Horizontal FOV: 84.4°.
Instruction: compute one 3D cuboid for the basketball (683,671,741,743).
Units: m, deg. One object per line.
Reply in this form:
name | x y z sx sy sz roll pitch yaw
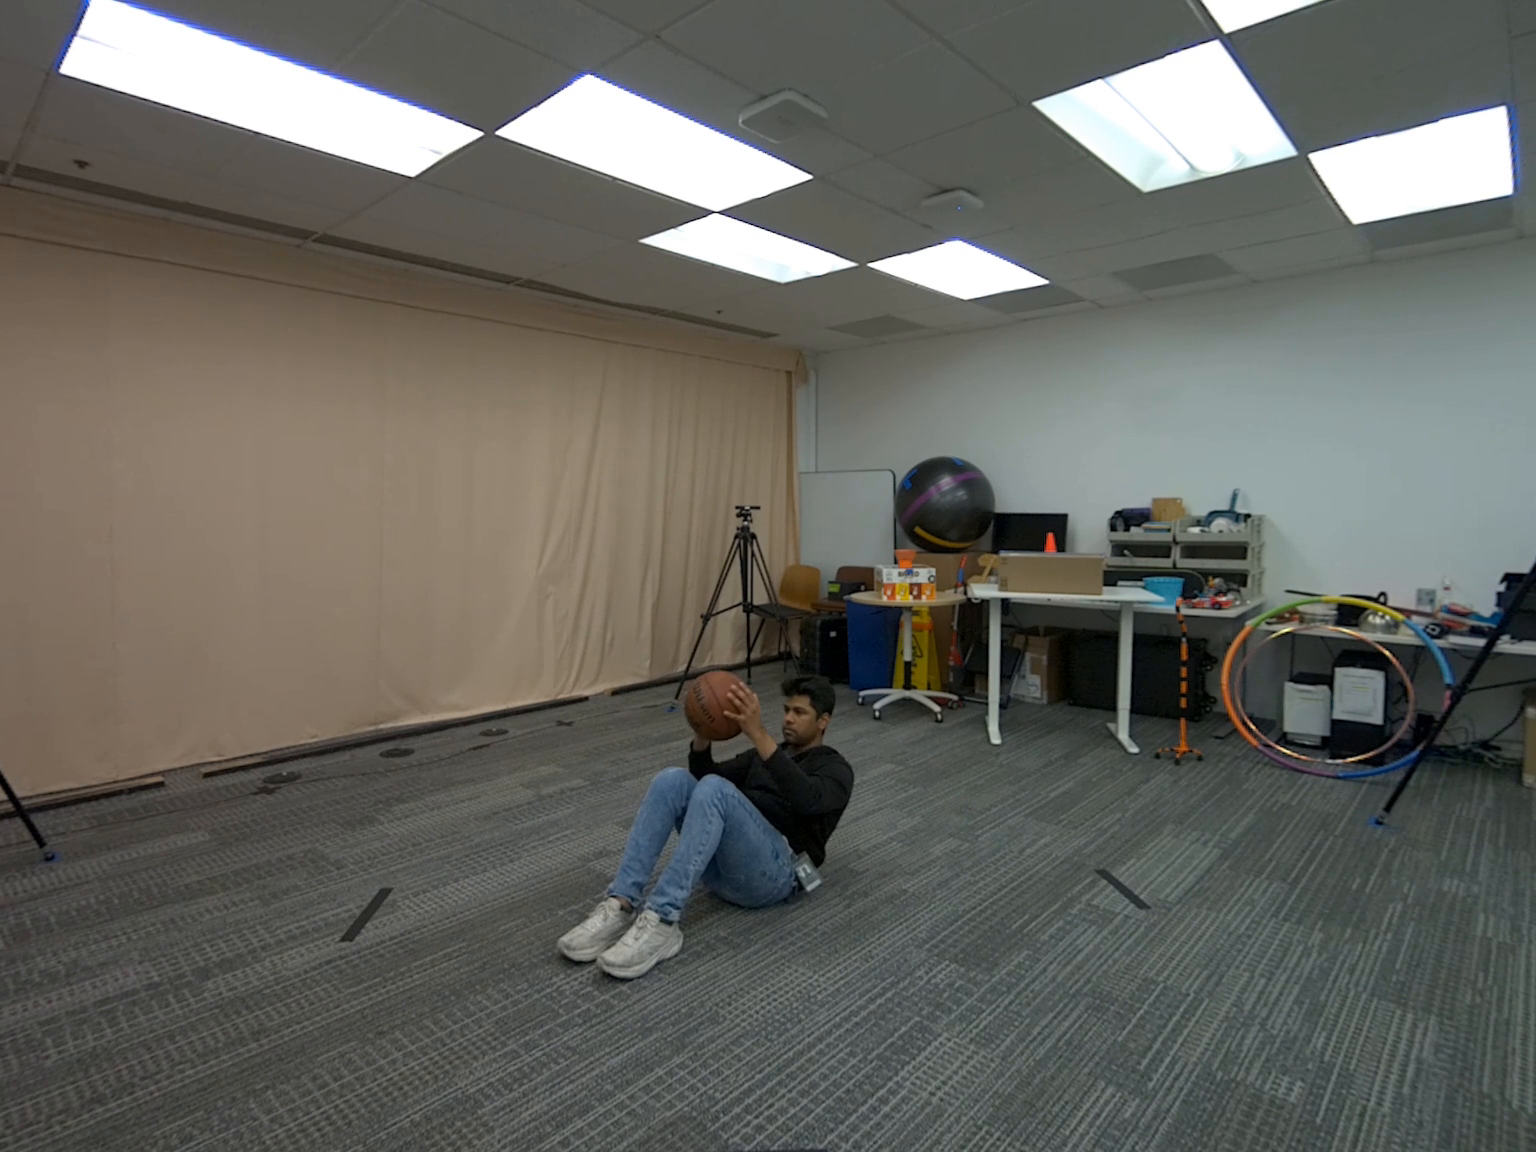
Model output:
basketball | -0.160 0.460 2.900 0.236 0.235 0.237 0 4 -2
